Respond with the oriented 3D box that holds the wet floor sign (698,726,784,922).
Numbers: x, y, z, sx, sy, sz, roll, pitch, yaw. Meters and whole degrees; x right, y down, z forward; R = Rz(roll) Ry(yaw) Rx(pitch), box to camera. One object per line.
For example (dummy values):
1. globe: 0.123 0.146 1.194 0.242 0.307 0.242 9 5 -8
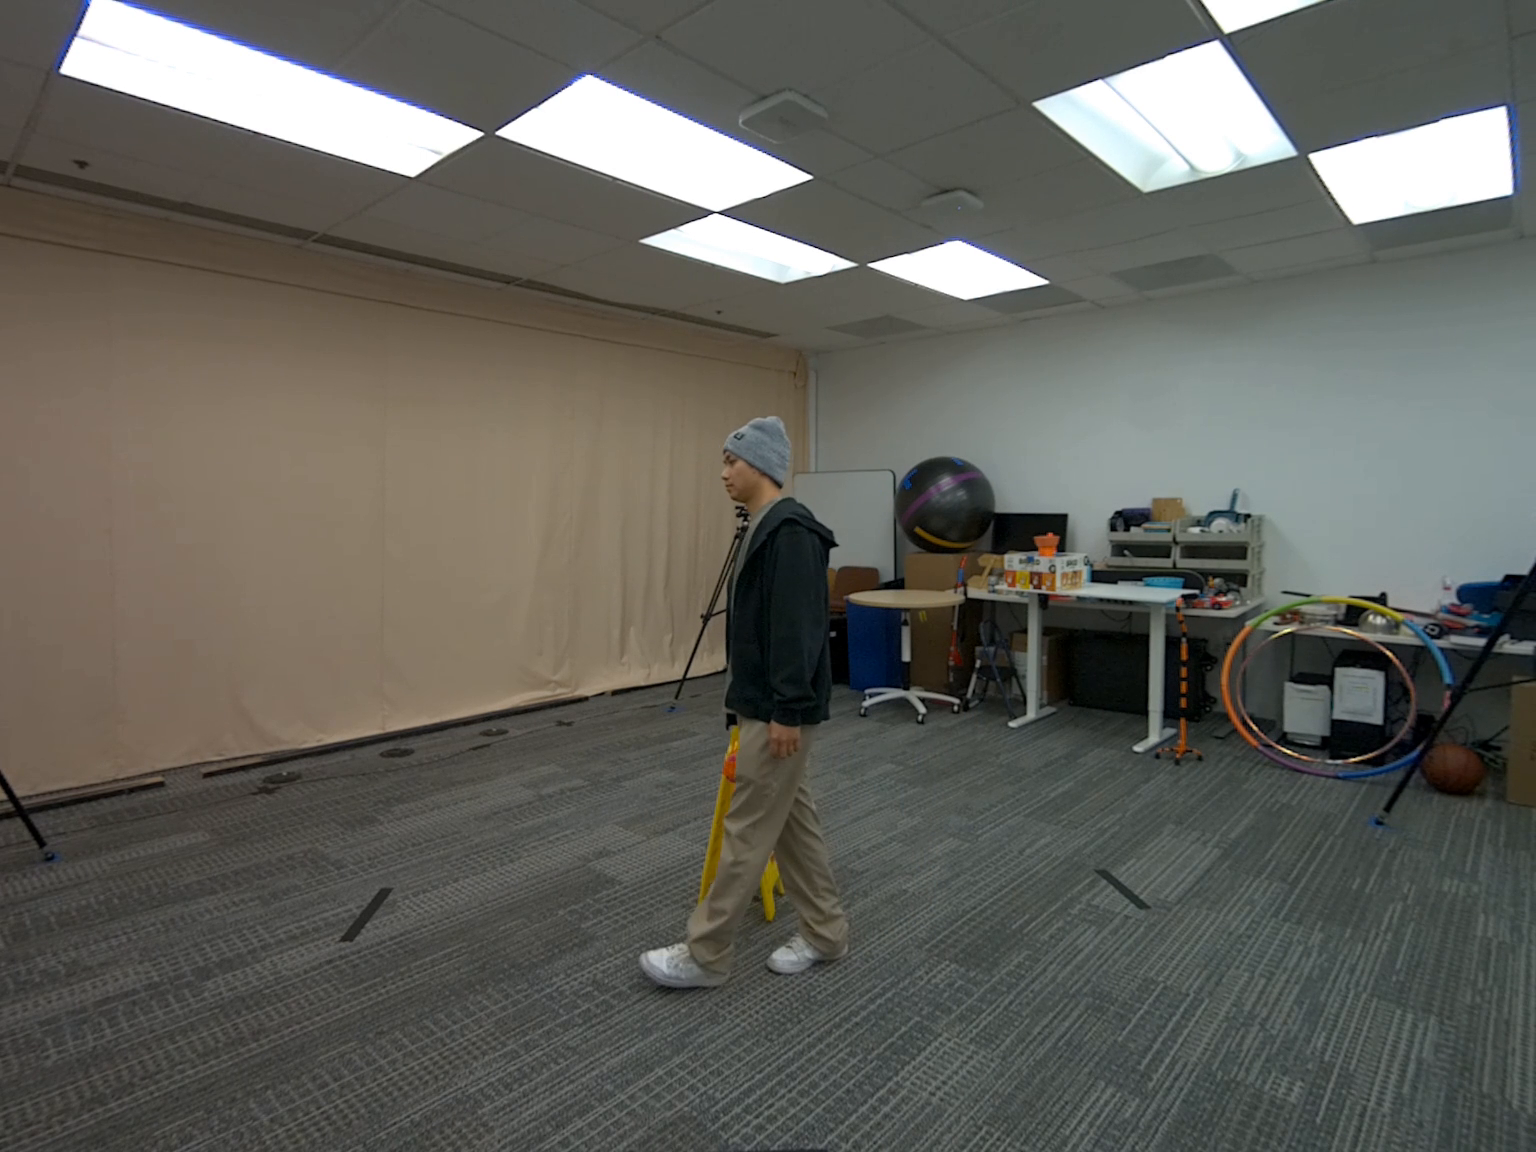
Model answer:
1. wet floor sign: -0.089 0.822 2.962 0.294 0.645 0.278 0 2 14
